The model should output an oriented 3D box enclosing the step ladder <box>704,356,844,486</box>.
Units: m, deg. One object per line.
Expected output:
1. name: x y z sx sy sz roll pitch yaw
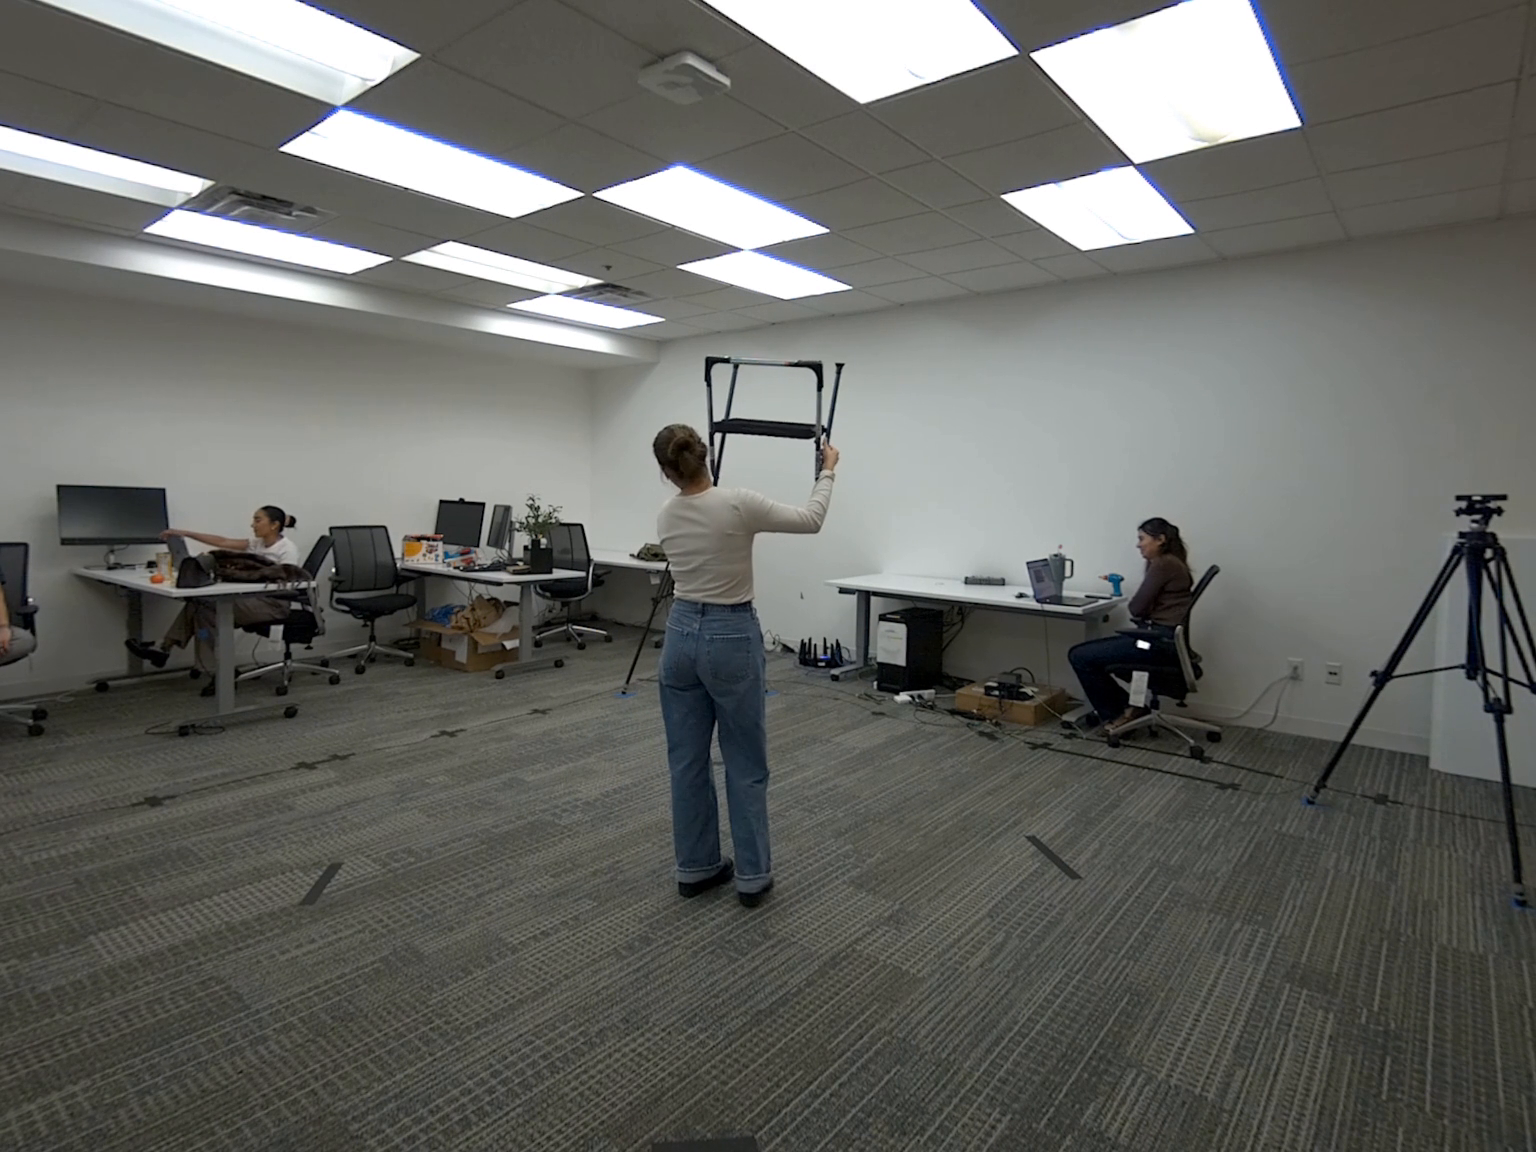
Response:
1. step ladder: 0.005 -0.477 3.068 0.440 0.600 0.345 7 12 18
